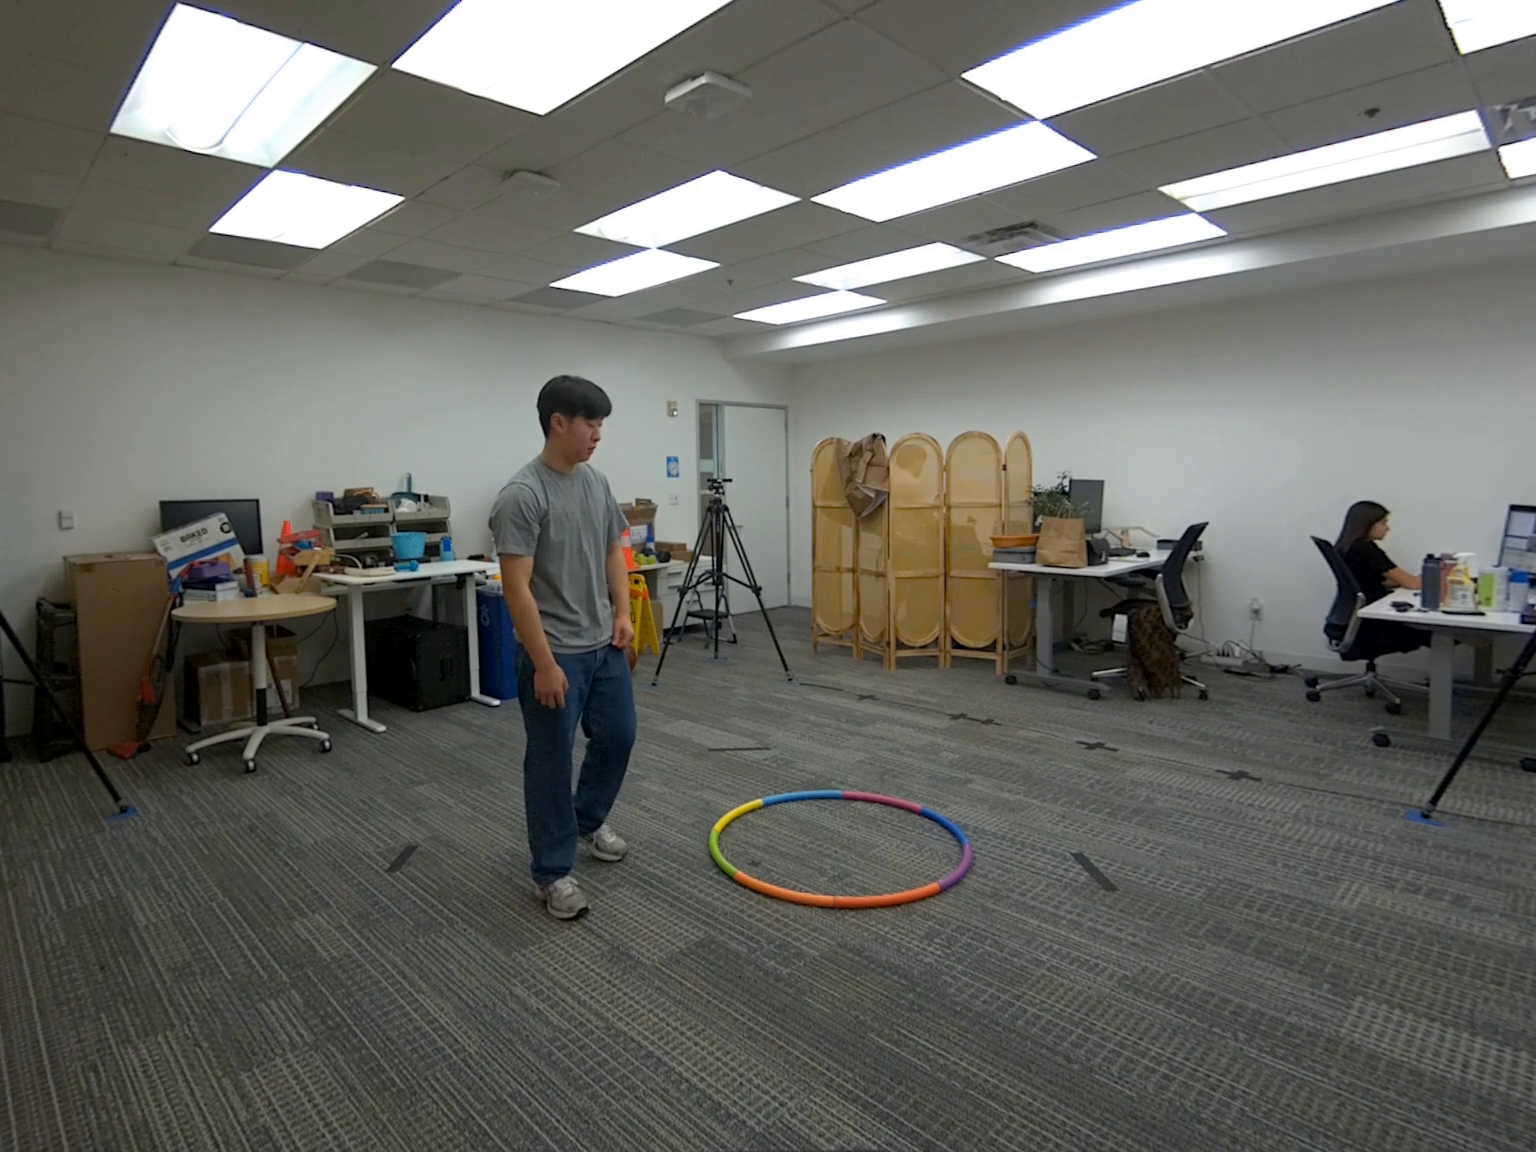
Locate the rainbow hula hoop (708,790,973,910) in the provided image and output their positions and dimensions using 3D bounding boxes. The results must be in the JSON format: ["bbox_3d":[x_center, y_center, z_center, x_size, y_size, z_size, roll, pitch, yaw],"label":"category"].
[{"bbox_3d":[0.261,0.993,3.251,0.978,0.035,0.984,-1,6,-2],"label":"rainbow hula hoop"}]
